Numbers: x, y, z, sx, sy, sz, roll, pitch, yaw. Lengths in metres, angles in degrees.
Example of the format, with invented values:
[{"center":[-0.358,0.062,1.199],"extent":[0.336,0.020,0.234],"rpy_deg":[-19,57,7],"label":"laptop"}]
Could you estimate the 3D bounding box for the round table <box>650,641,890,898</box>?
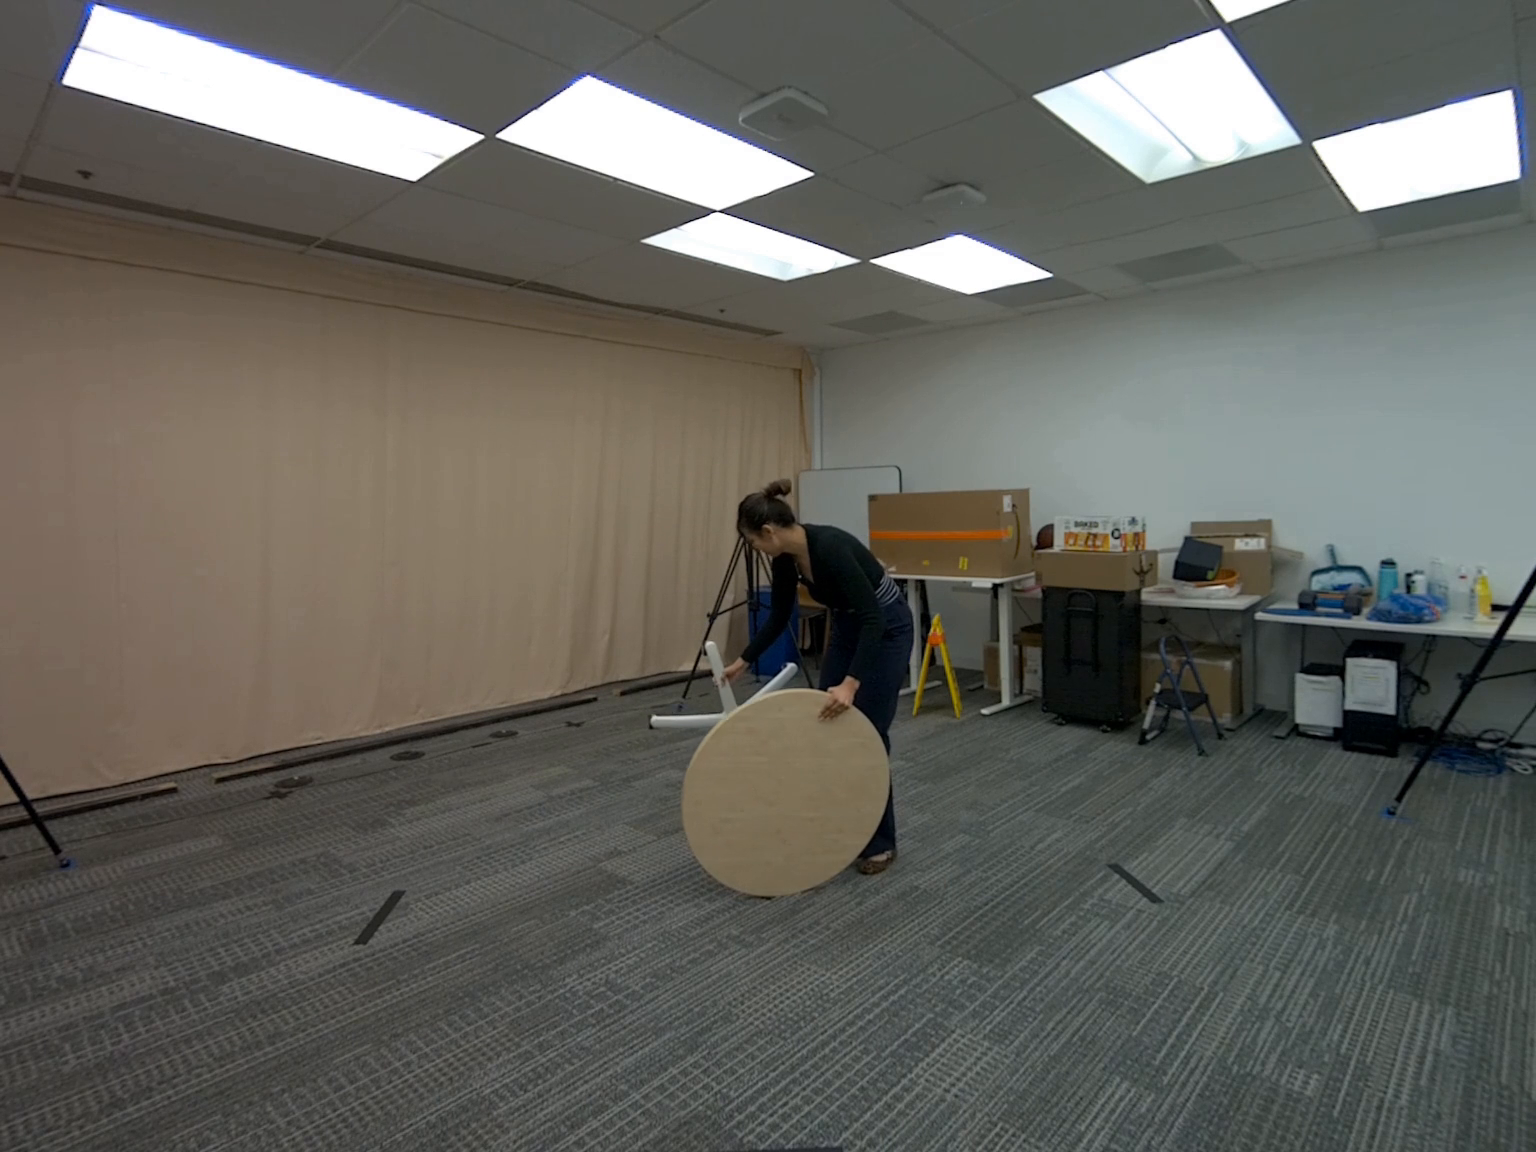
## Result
[{"center":[-0.054,0.681,3.305],"extent":[0.751,0.759,0.813],"rpy_deg":[-2,12,-17],"label":"round table"}]
